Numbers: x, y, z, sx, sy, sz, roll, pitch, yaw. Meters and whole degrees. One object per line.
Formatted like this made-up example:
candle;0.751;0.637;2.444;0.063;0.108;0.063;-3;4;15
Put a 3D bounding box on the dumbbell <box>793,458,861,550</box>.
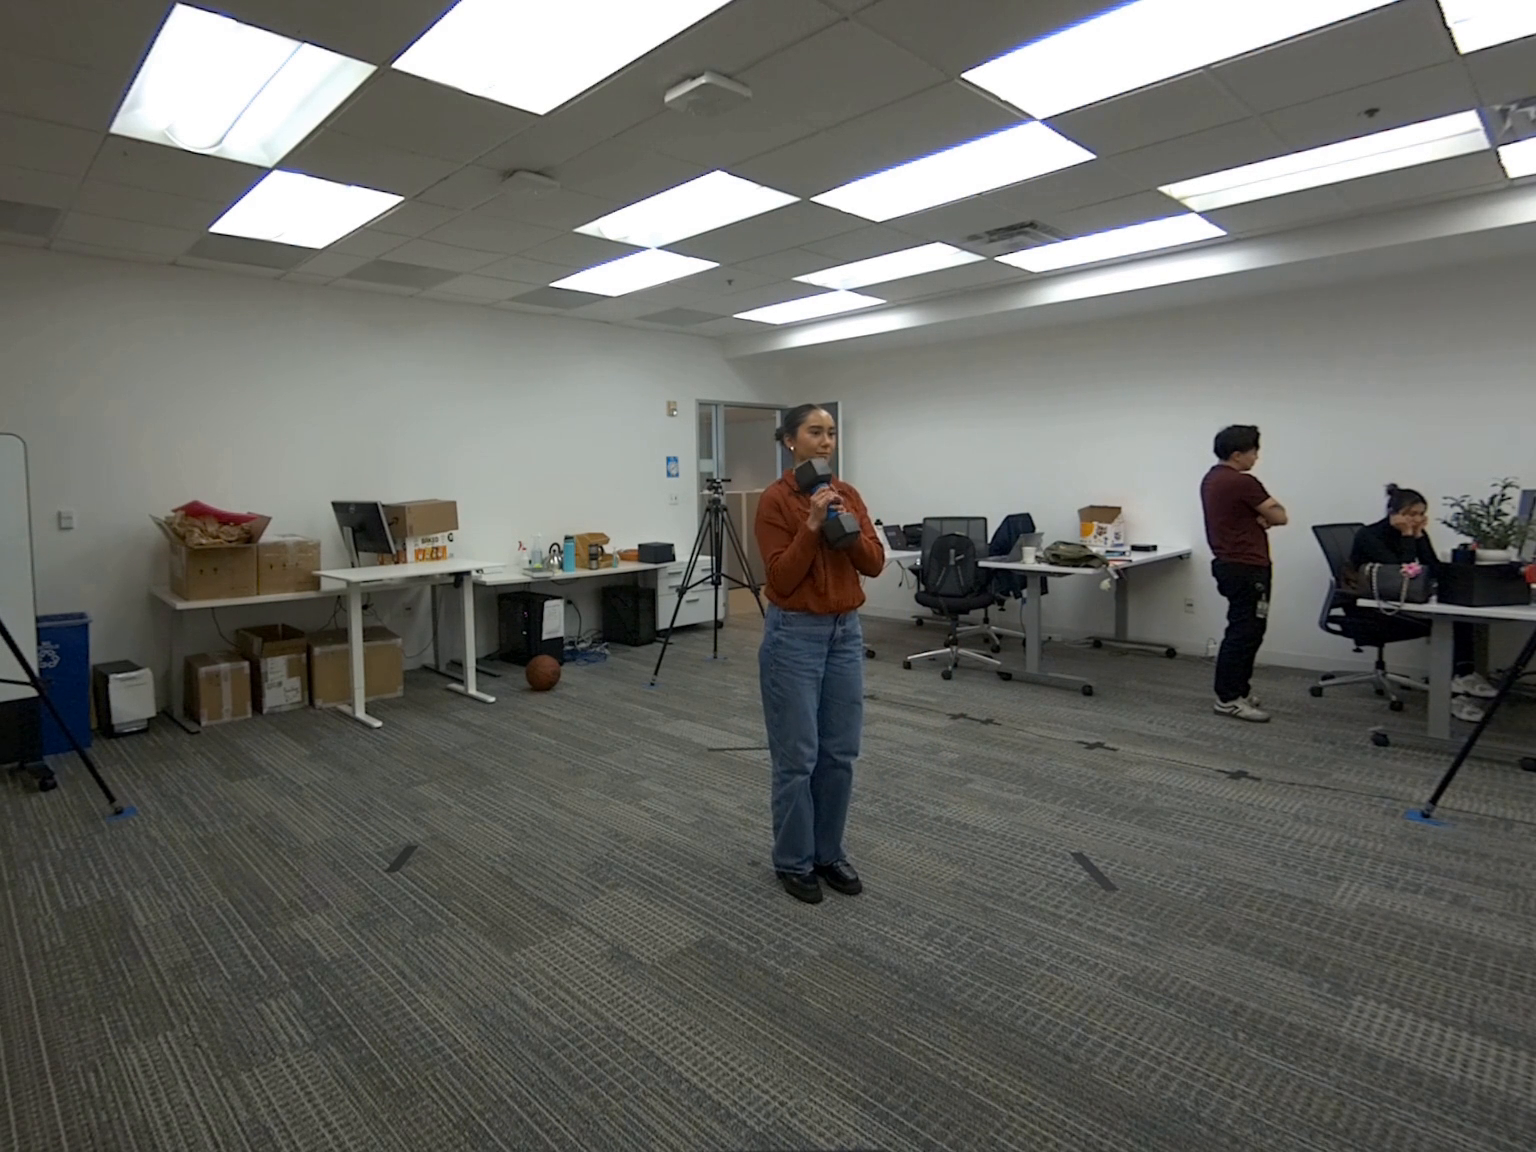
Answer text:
dumbbell;0.187;-0.237;2.733;0.124;0.300;0.105;-31;-22;26
